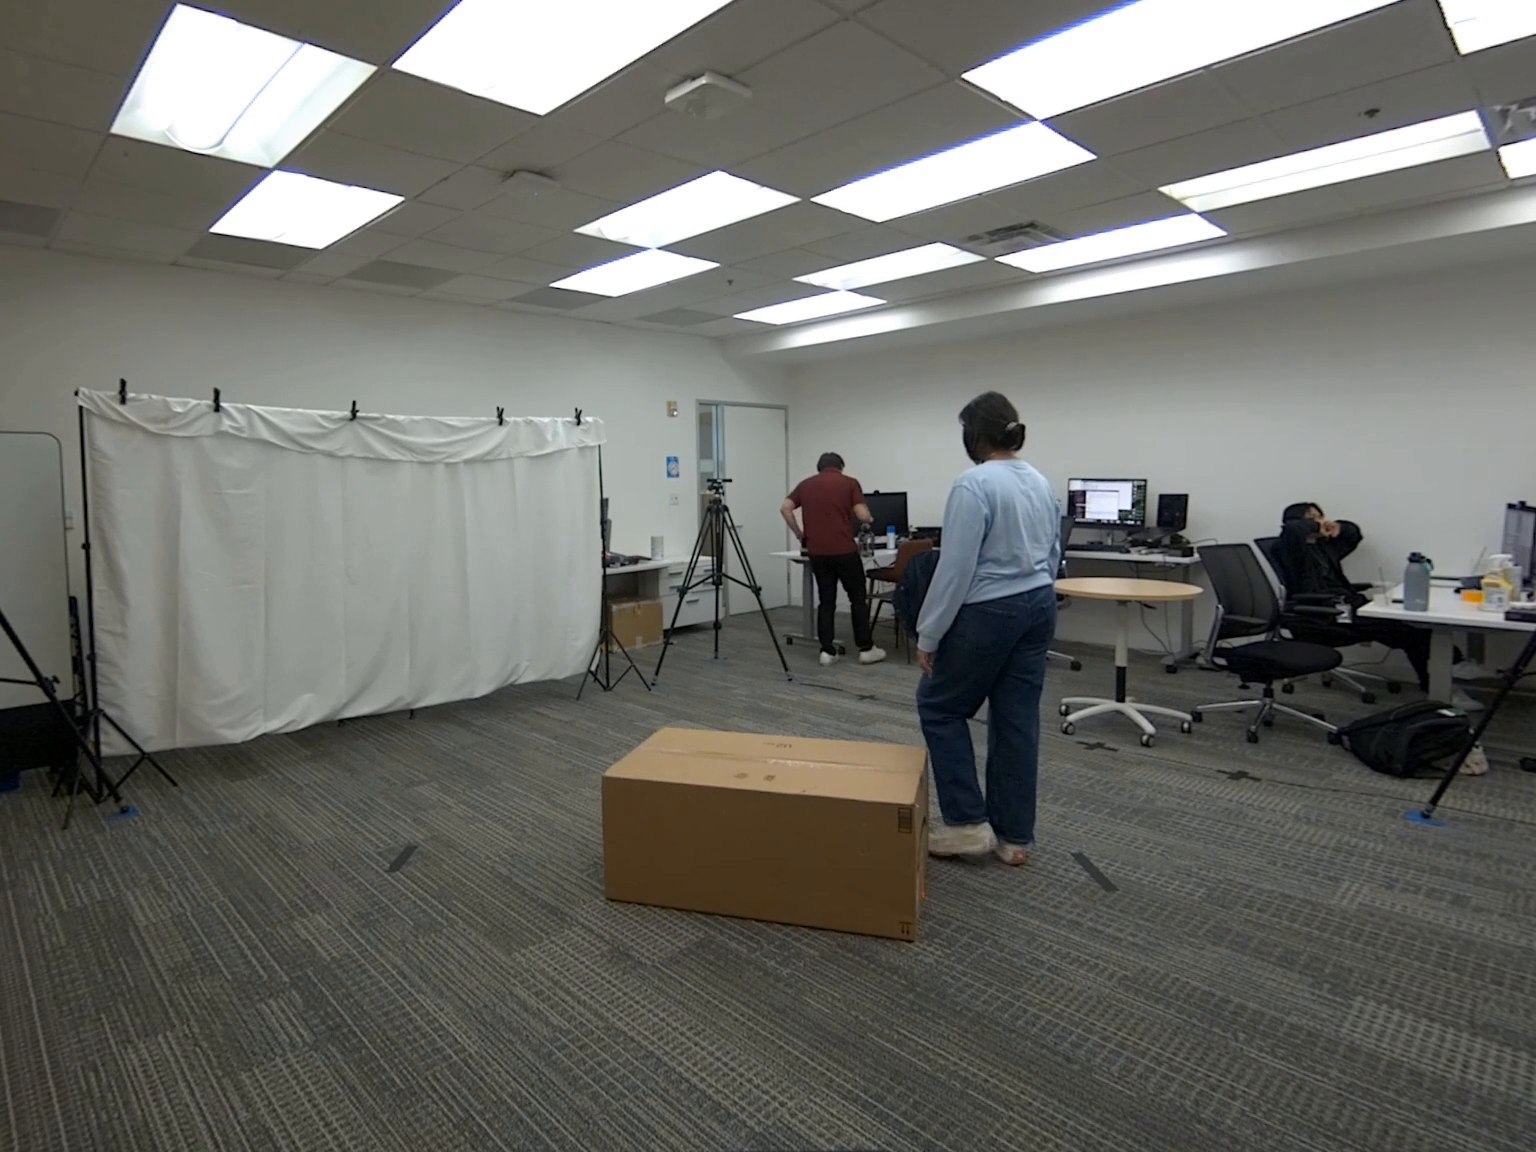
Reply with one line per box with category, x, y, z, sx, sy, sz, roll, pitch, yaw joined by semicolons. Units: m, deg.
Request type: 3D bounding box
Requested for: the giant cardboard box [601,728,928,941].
giant cardboard box;0.012;0.844;2.966;1.043;0.424;0.571;1;6;16
